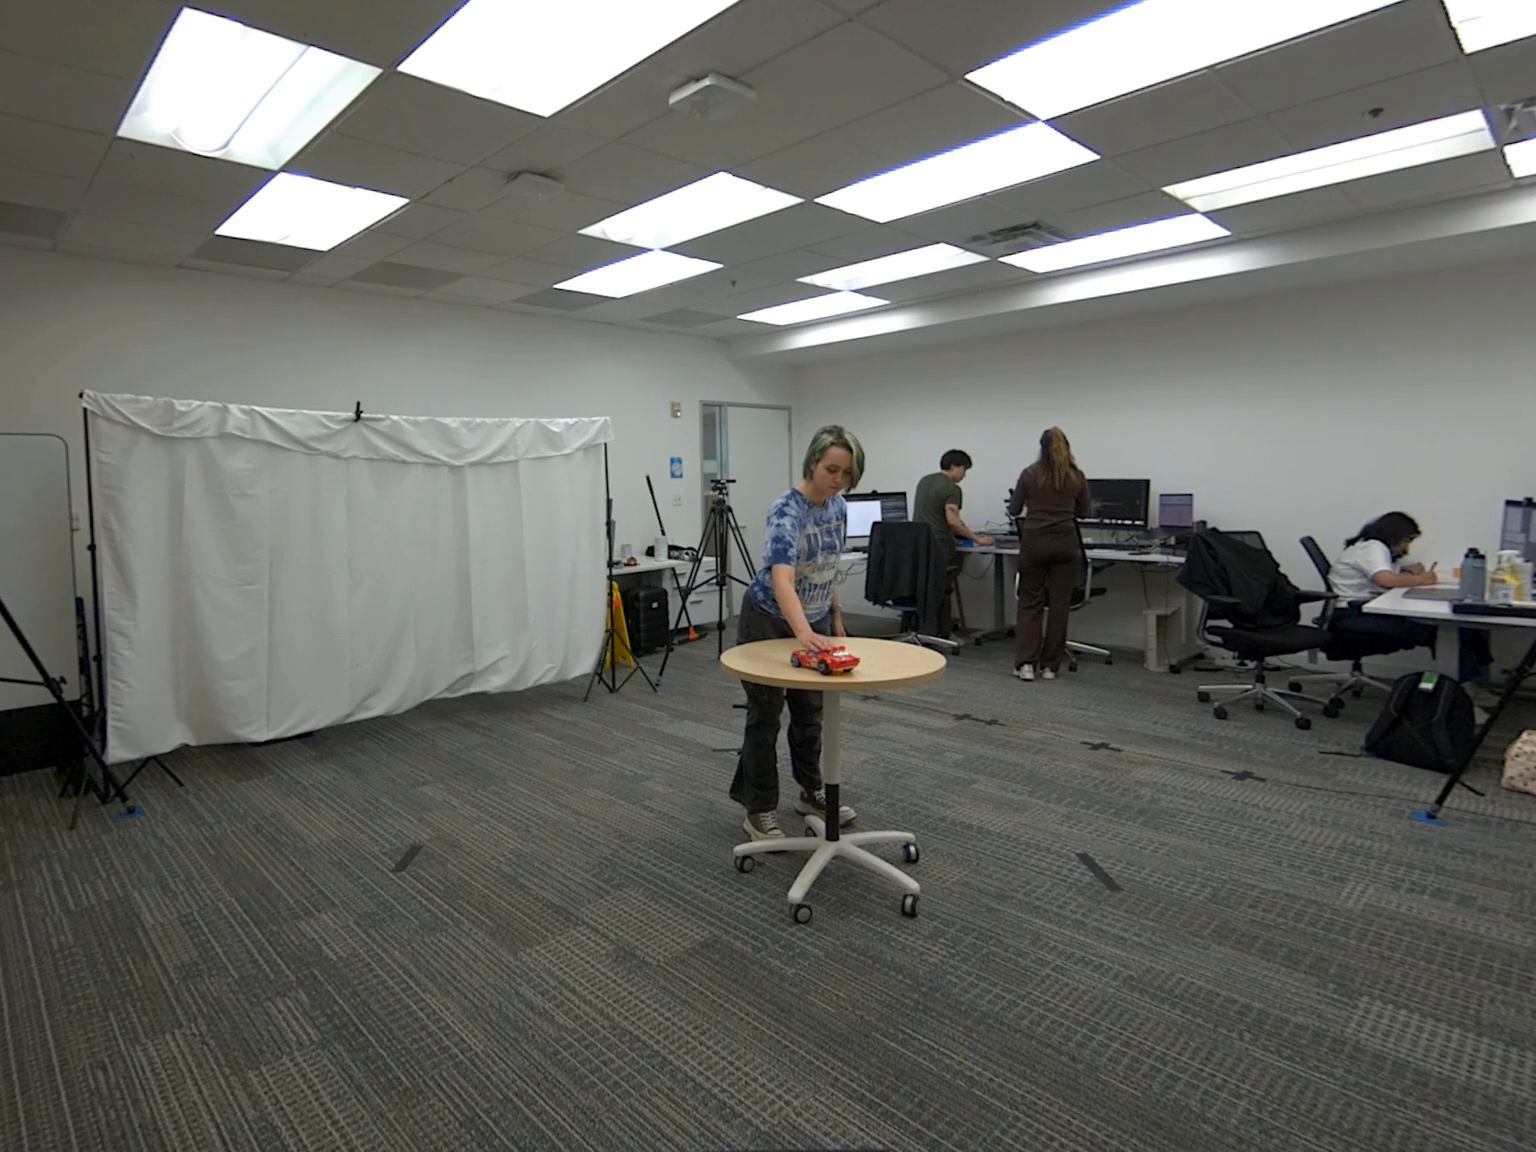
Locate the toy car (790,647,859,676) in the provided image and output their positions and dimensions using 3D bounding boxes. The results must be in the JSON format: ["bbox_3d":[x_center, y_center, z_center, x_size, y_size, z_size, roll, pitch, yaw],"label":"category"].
[{"bbox_3d":[0.190,0.272,2.719,0.127,0.084,0.259,-3,-5,-34],"label":"toy car"}]
